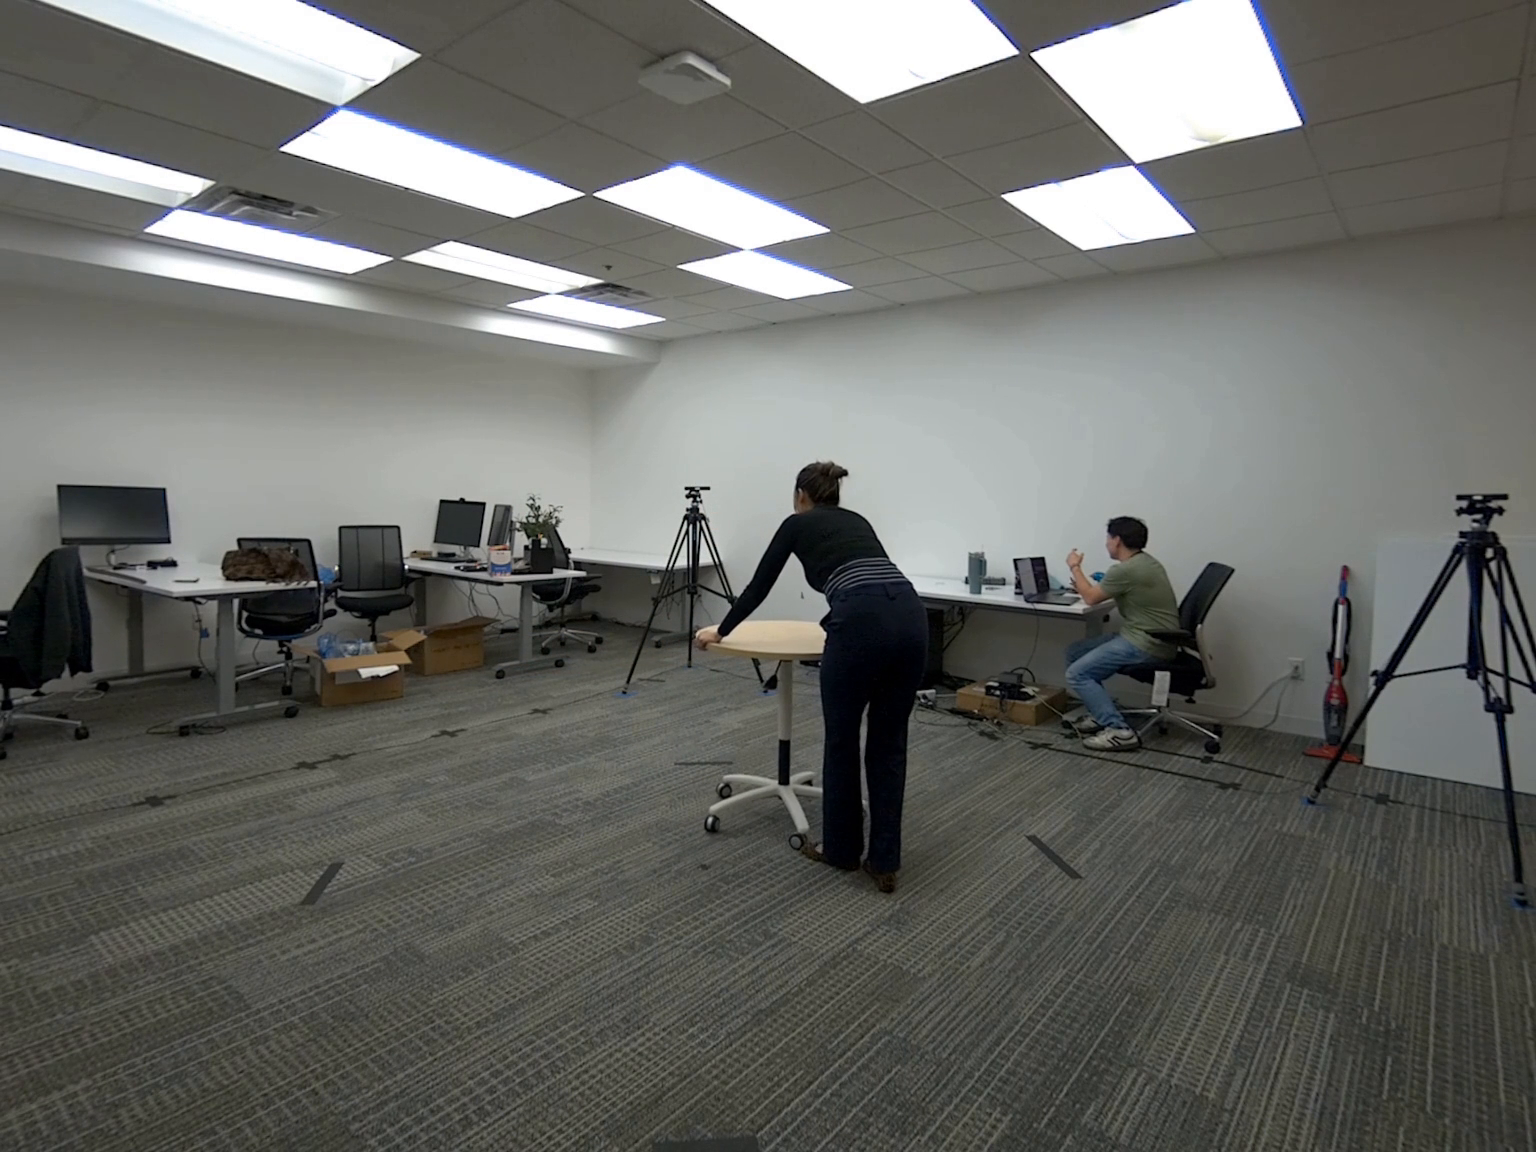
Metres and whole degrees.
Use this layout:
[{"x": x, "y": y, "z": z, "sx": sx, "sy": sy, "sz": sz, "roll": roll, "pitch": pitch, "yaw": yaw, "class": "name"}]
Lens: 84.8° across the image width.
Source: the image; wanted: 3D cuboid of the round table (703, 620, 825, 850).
[{"x": 0.054, "y": 0.636, "z": 3.595, "sx": 0.763, "sy": 0.791, "sz": 0.768, "roll": 1, "pitch": 4, "yaw": -2, "class": "round table"}]
